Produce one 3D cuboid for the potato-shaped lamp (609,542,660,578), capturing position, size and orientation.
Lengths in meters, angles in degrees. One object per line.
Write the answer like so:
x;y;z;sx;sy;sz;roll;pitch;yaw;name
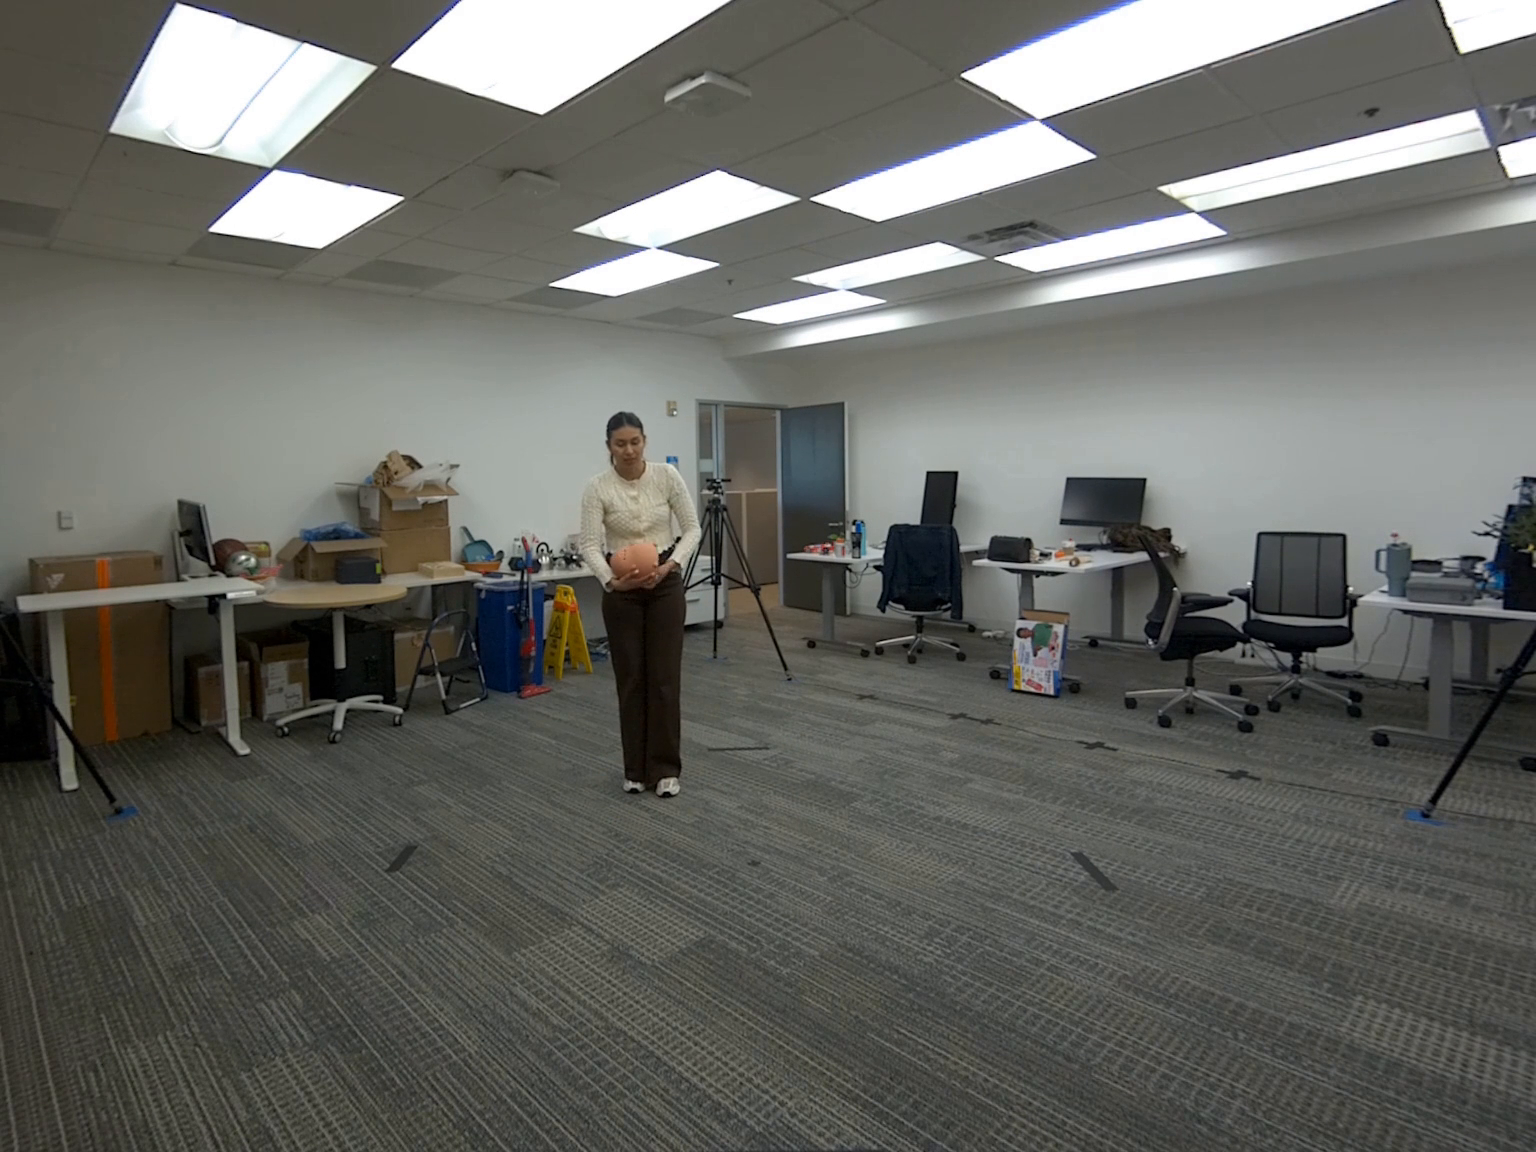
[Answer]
-0.558;-0.056;3.607;0.196;0.169;0.169;1;-31;-11;potato-shaped lamp
